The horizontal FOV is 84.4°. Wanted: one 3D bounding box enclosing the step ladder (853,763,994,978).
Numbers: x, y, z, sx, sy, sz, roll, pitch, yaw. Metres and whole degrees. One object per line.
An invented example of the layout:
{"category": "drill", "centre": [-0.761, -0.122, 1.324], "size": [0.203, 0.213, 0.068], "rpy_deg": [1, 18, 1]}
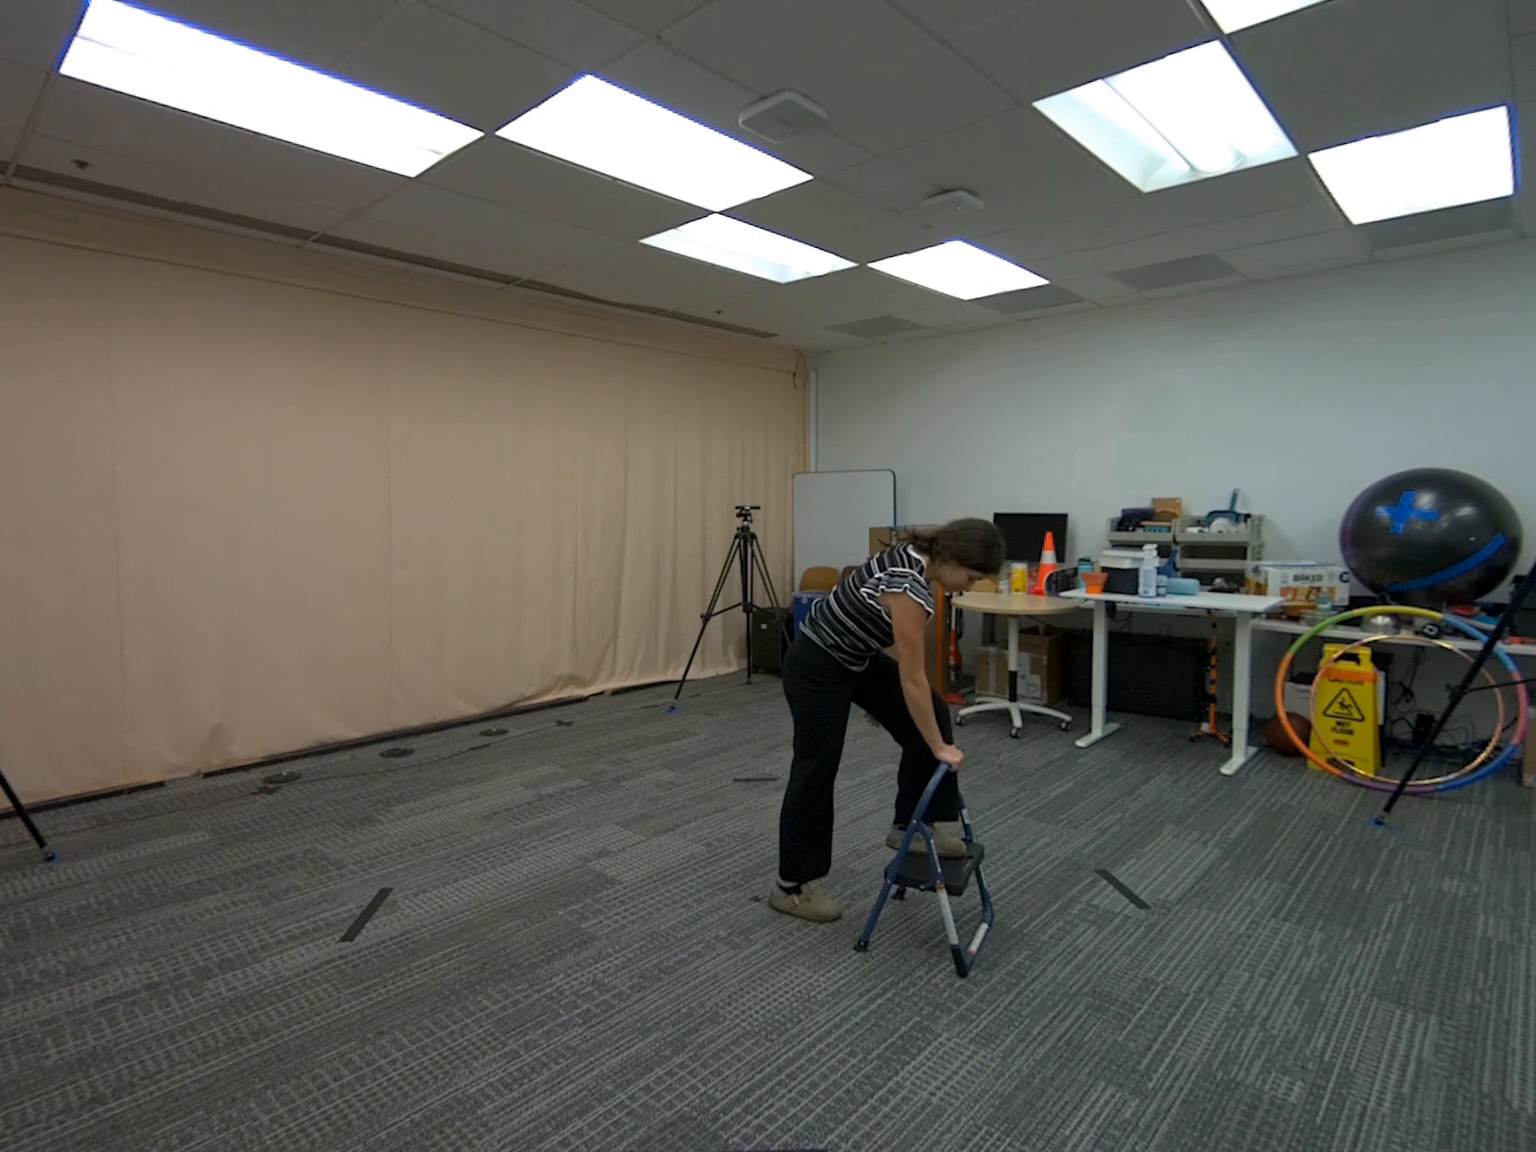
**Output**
{"category": "step ladder", "centre": [0.519, 0.865, 2.718], "size": [0.359, 0.604, 0.420], "rpy_deg": [1, 4, 27]}
